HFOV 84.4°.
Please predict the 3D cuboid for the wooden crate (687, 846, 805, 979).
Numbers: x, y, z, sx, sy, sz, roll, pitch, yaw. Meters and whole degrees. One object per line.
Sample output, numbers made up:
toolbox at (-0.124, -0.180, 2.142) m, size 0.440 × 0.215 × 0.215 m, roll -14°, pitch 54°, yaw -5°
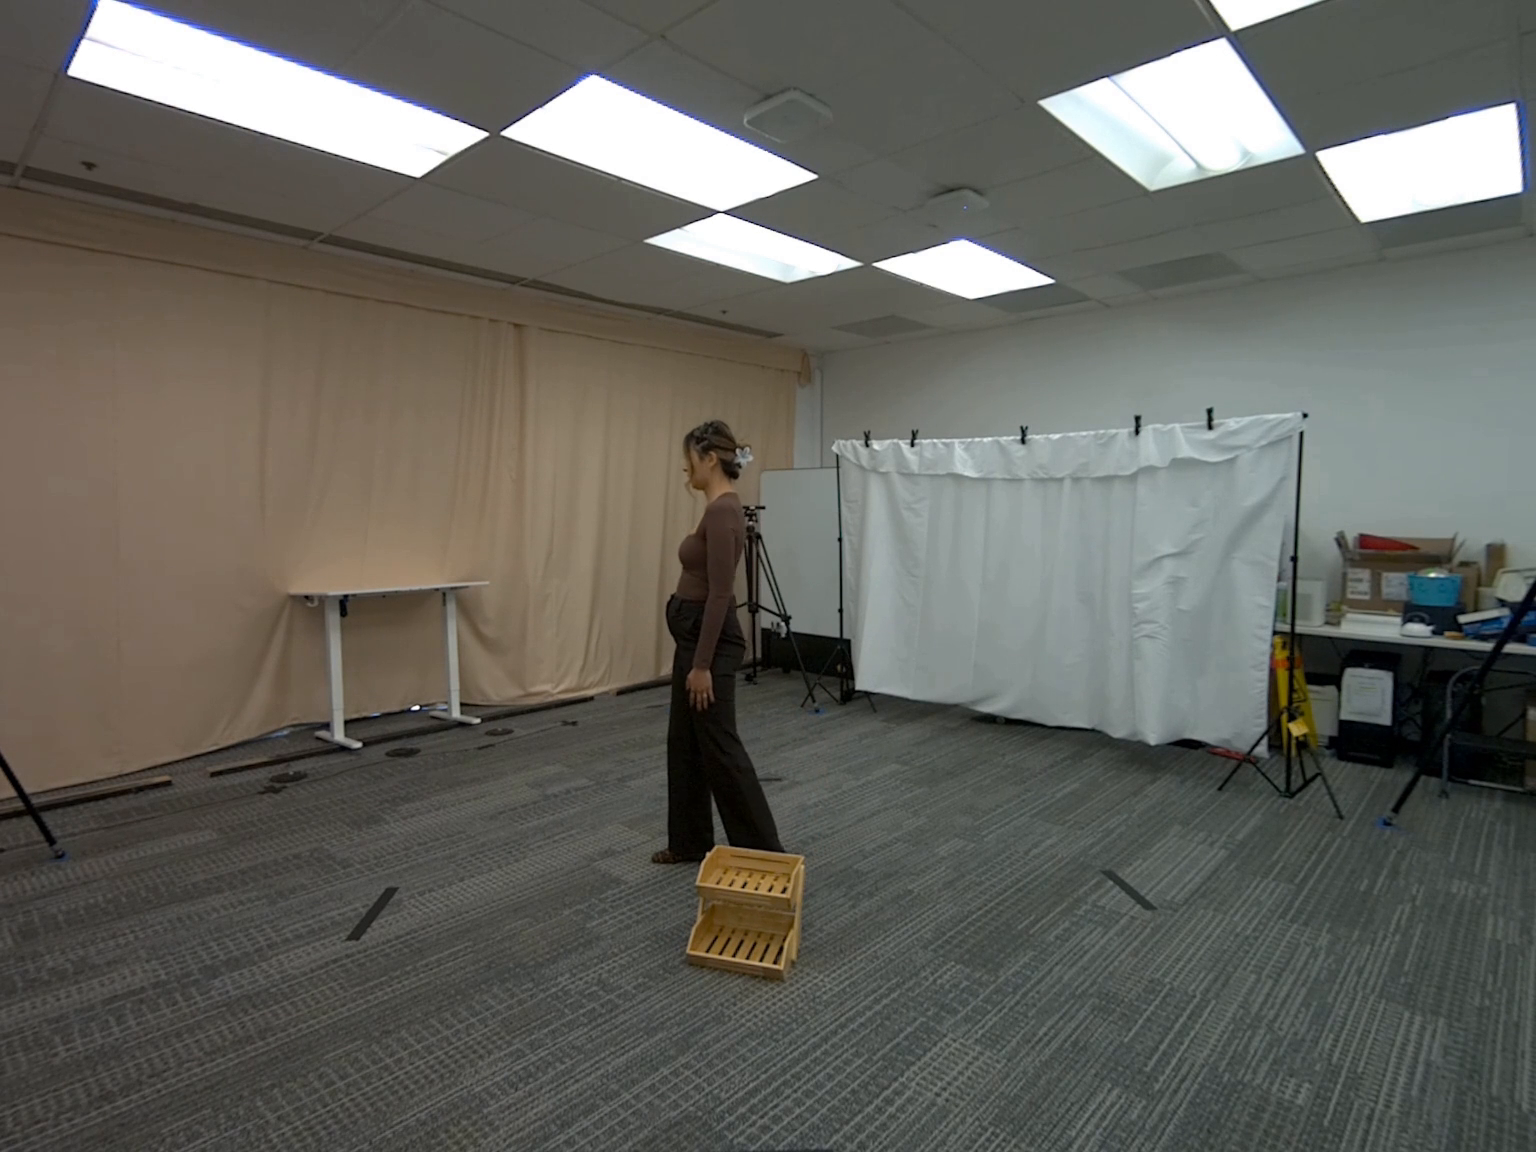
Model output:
wooden crate at (-0.059, 1.039, 2.625) m, size 0.330 × 0.273 × 0.297 m, roll 1°, pitch 4°, yaw 16°
